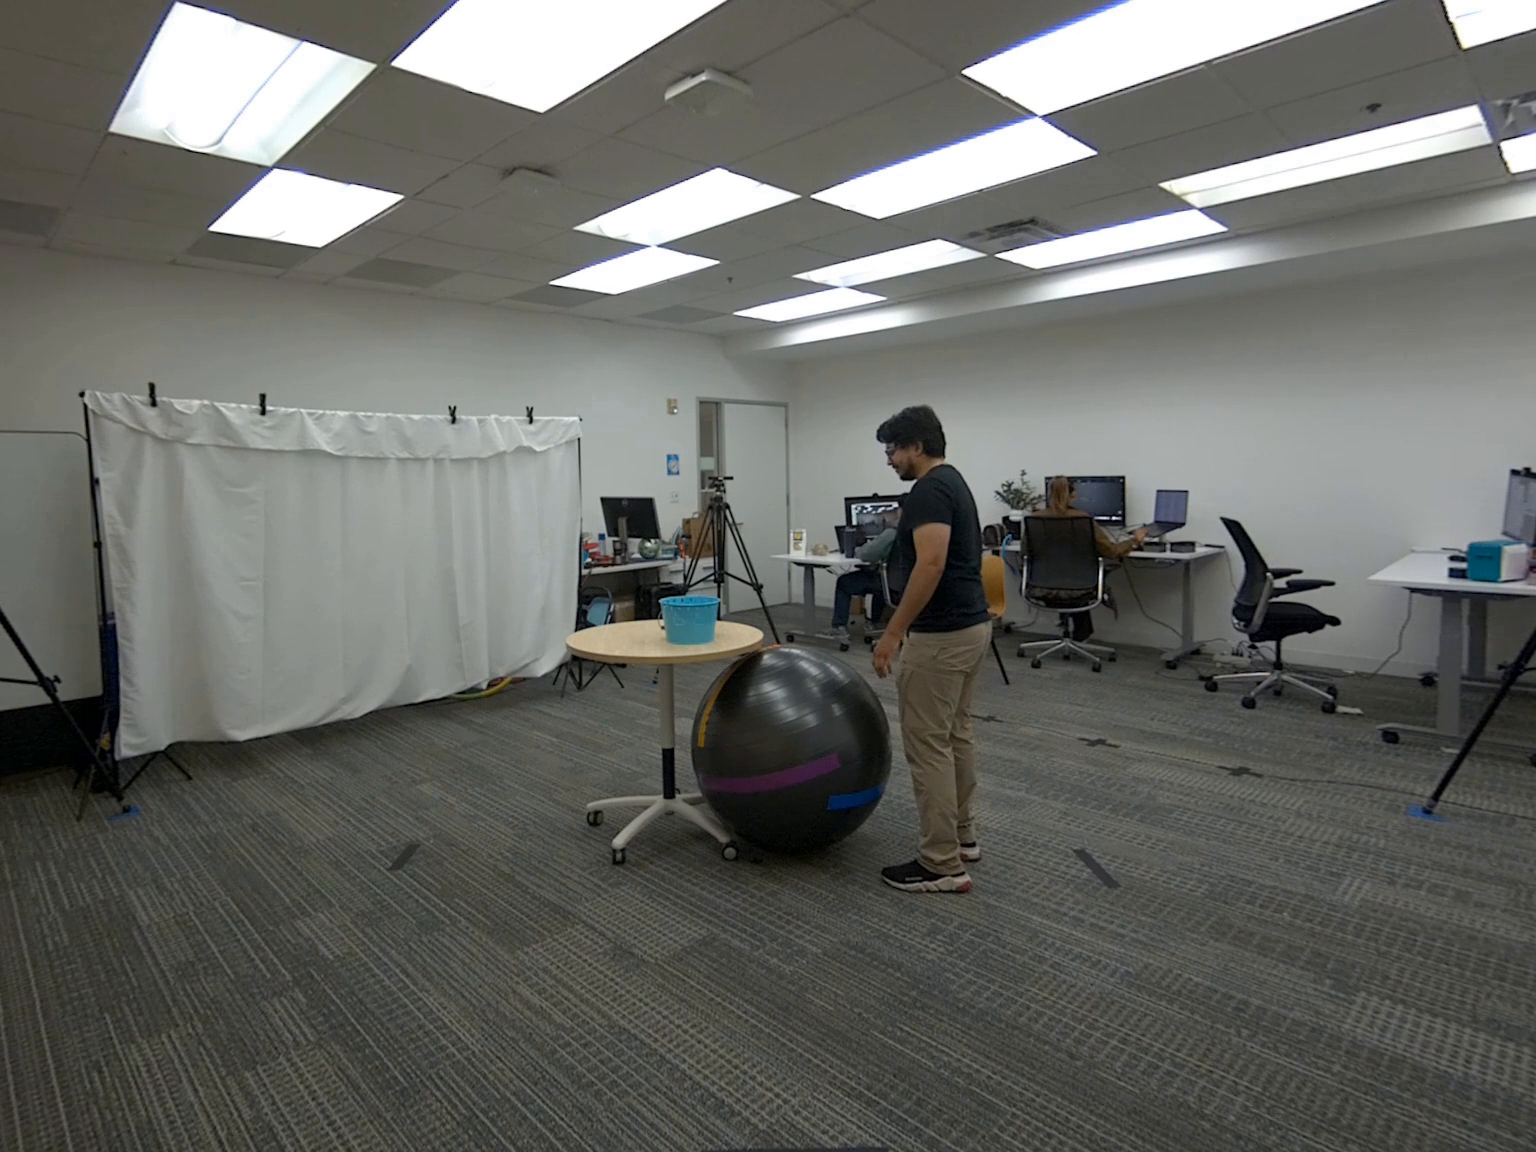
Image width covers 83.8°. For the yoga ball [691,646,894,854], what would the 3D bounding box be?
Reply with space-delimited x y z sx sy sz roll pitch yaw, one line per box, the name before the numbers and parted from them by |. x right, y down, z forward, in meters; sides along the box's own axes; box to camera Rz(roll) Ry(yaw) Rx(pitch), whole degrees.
yoga ball | 0.087 0.651 3.236 0.757 0.755 0.762 -1 5 -2
